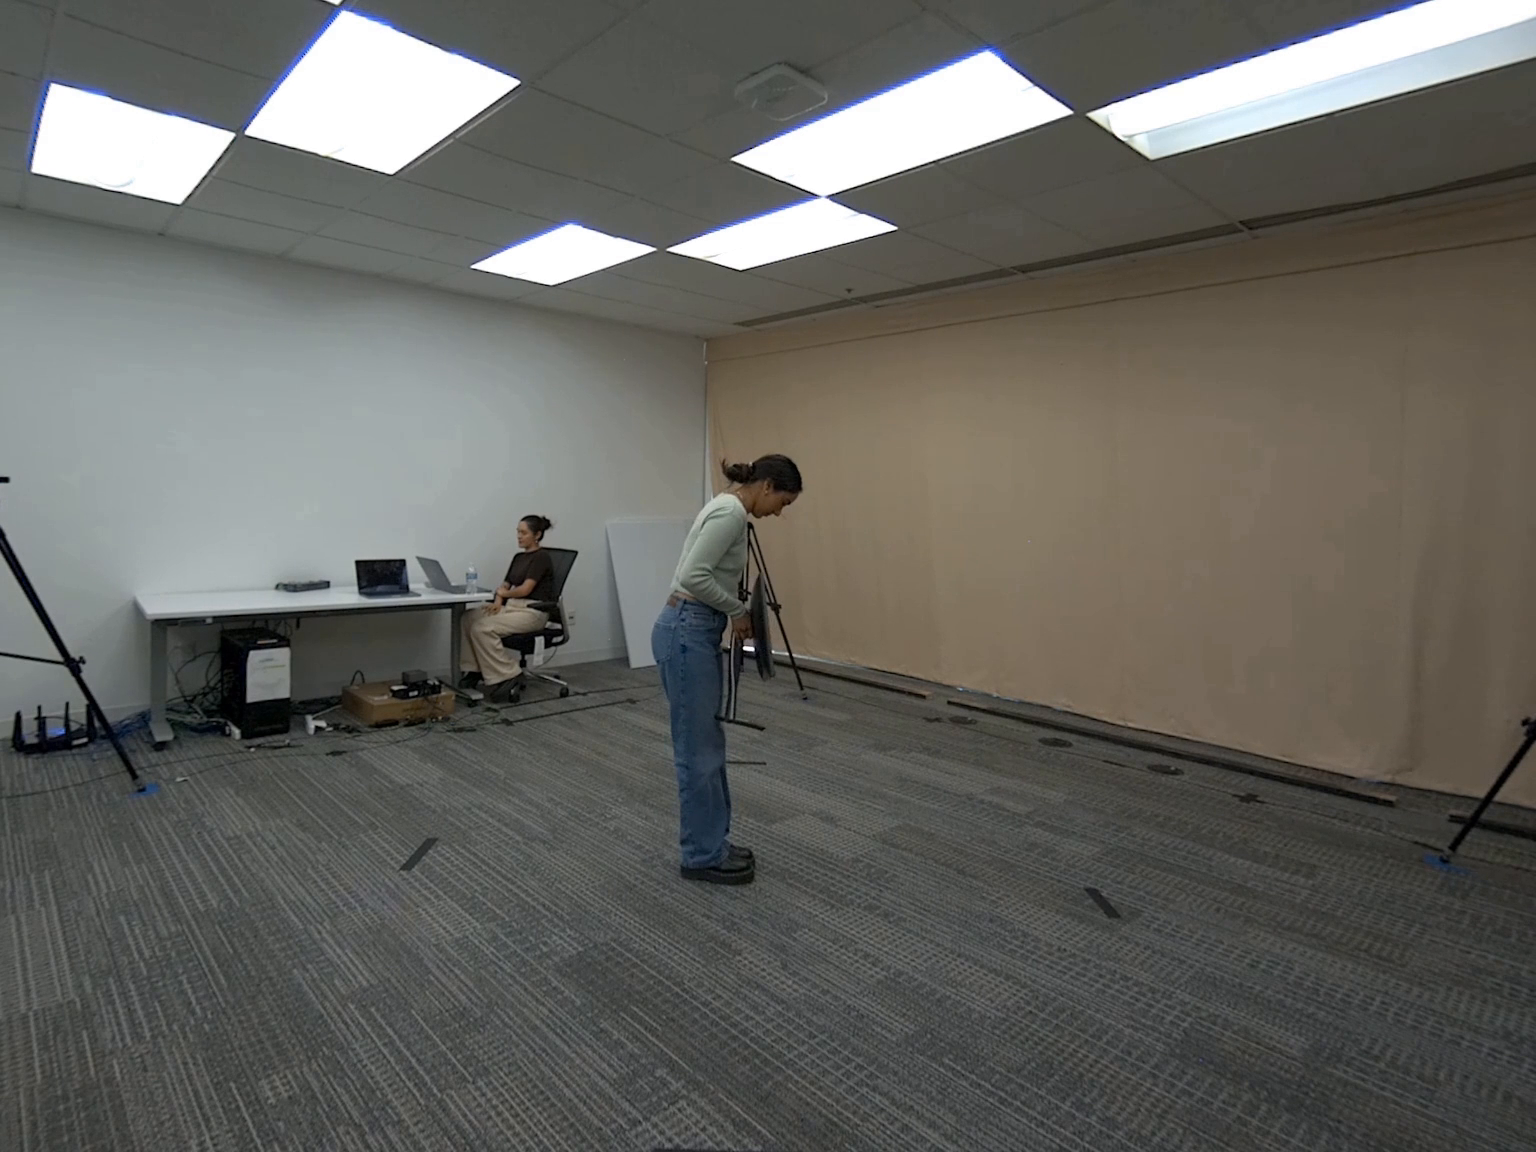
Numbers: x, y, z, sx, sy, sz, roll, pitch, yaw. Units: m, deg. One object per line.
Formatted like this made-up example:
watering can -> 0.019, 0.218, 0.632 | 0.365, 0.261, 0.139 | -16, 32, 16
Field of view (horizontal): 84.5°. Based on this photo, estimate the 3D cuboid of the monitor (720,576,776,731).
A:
monitor -> -0.075, 0.278, 3.069 | 0.174, 0.519, 0.528 | 13, -9, -3
